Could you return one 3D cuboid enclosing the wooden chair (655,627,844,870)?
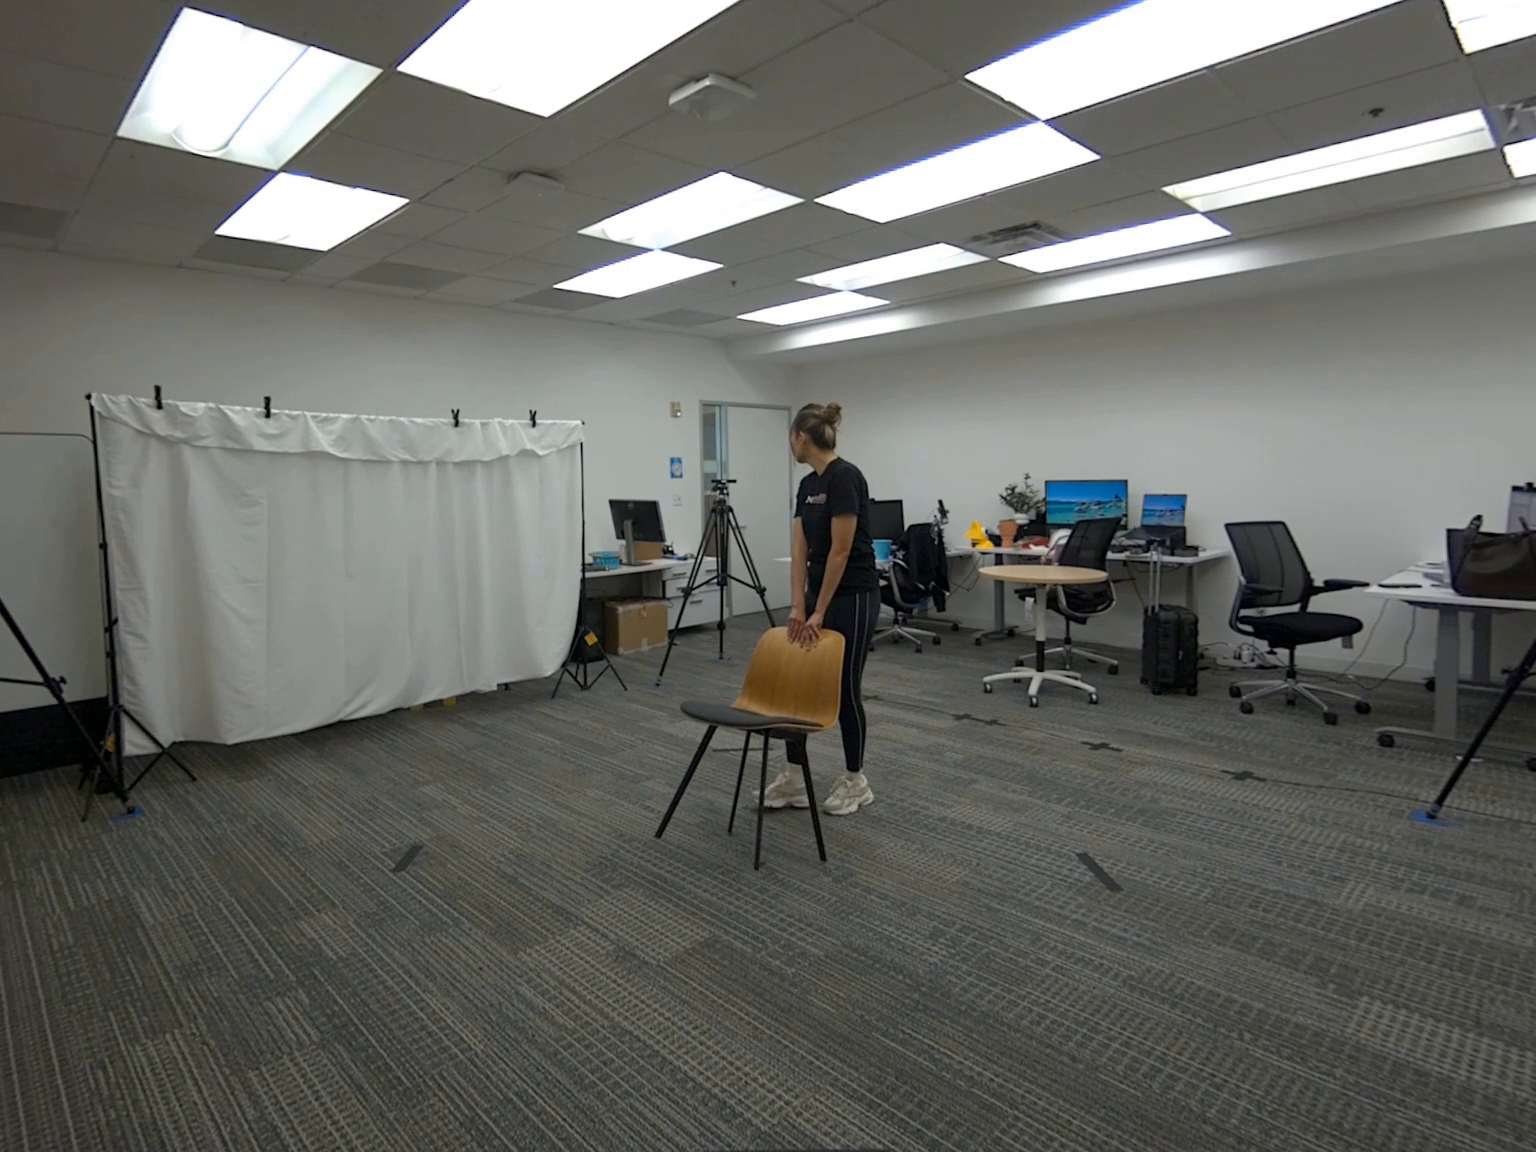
[{"bbox_3d":[-0.035,0.567,3.129,0.492,0.885,0.504,2,-15,37],"label":"wooden chair"}]
